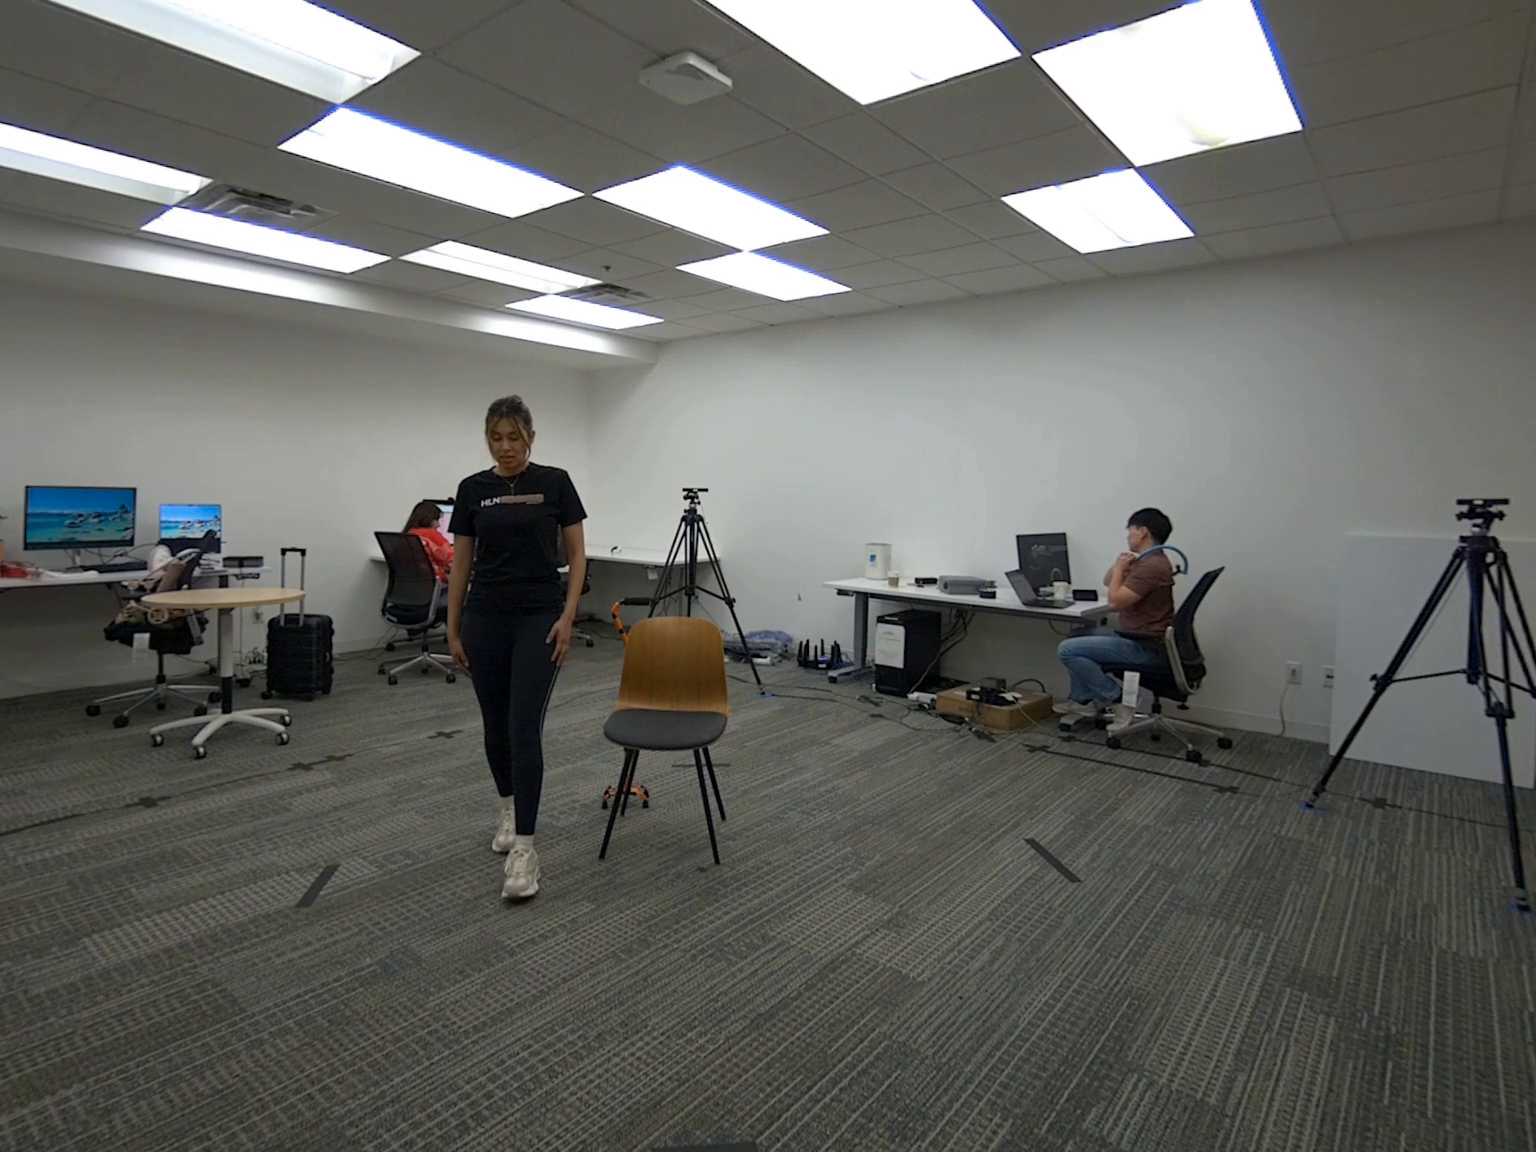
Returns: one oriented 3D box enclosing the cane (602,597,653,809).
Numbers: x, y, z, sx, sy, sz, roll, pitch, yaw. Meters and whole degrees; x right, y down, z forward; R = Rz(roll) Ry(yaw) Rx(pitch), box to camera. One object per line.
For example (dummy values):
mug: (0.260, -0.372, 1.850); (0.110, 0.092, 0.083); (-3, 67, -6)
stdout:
cane: (-0.633, 0.548, 3.742); (0.205, 0.905, 0.153); (0, 3, -6)
